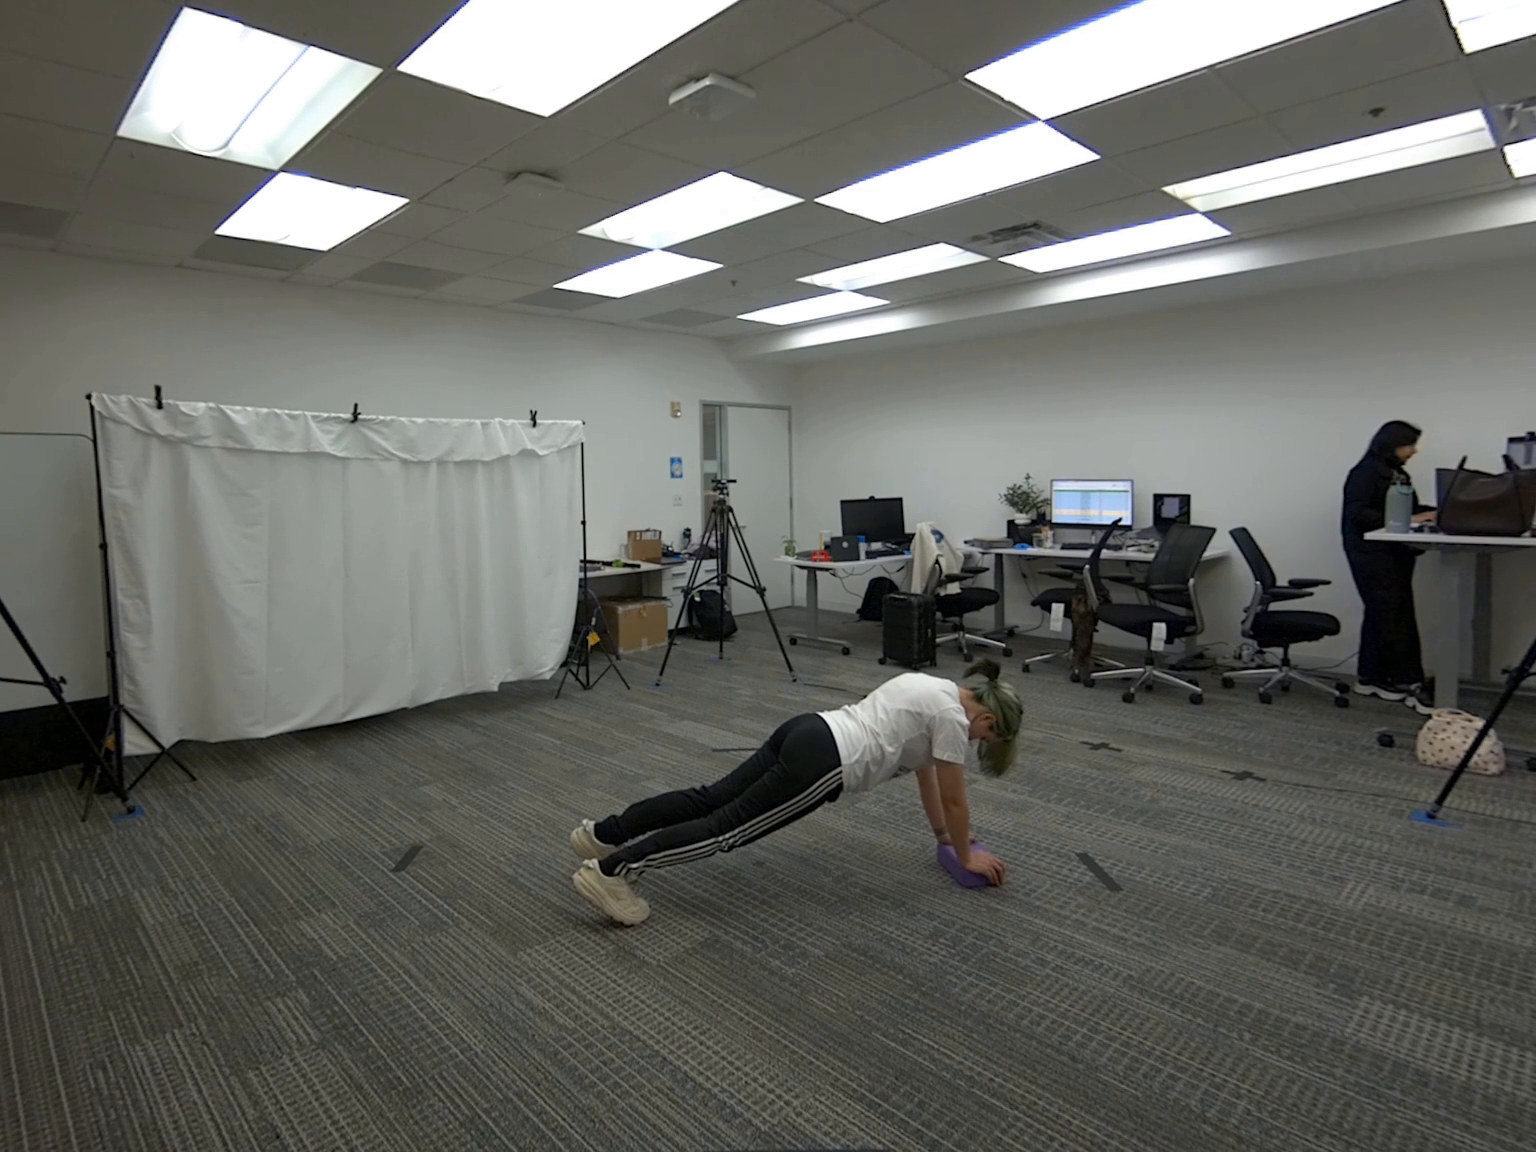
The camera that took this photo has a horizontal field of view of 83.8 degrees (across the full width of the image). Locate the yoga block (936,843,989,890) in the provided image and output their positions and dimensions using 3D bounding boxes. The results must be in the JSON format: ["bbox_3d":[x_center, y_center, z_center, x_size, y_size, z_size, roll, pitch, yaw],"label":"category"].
[{"bbox_3d":[0.703,1.004,3.006,0.148,0.076,0.232,-2,5,-9],"label":"yoga block"}]
